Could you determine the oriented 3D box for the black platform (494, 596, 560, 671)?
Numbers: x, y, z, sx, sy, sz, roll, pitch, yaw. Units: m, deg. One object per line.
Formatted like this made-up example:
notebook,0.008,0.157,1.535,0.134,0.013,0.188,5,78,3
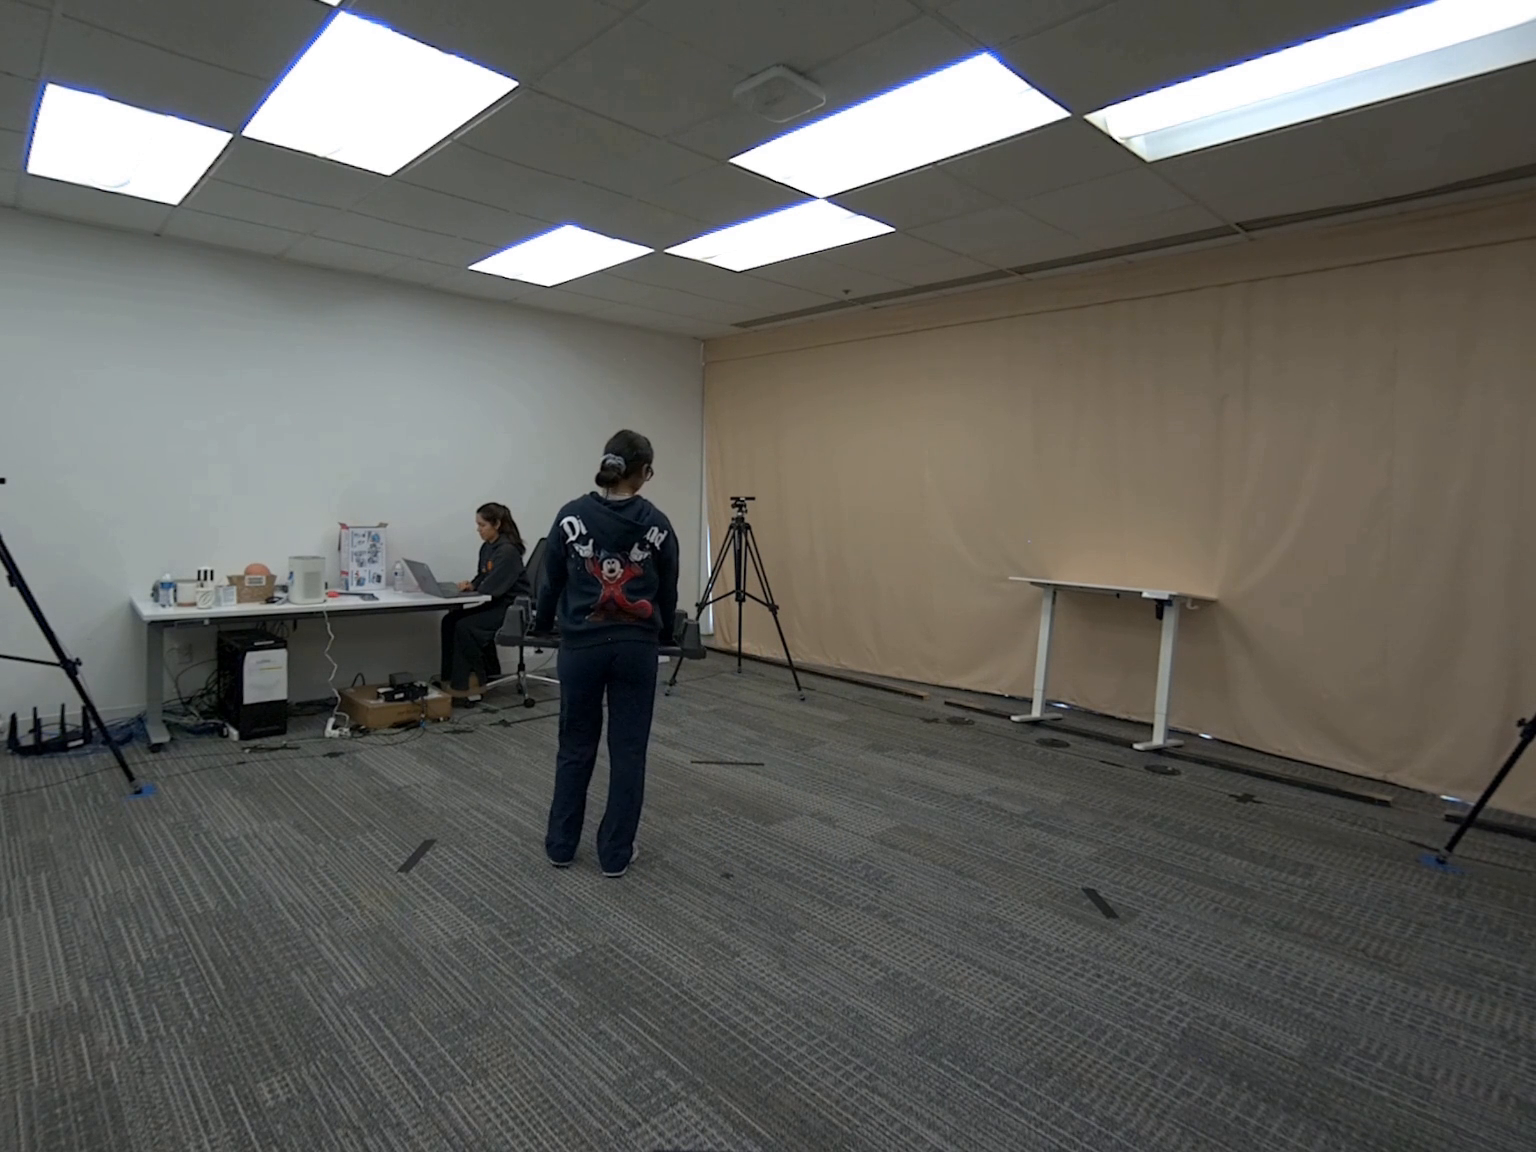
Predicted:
black platform,-0.695,0.207,3.464,0.797,0.143,0.612,5,3,-12
